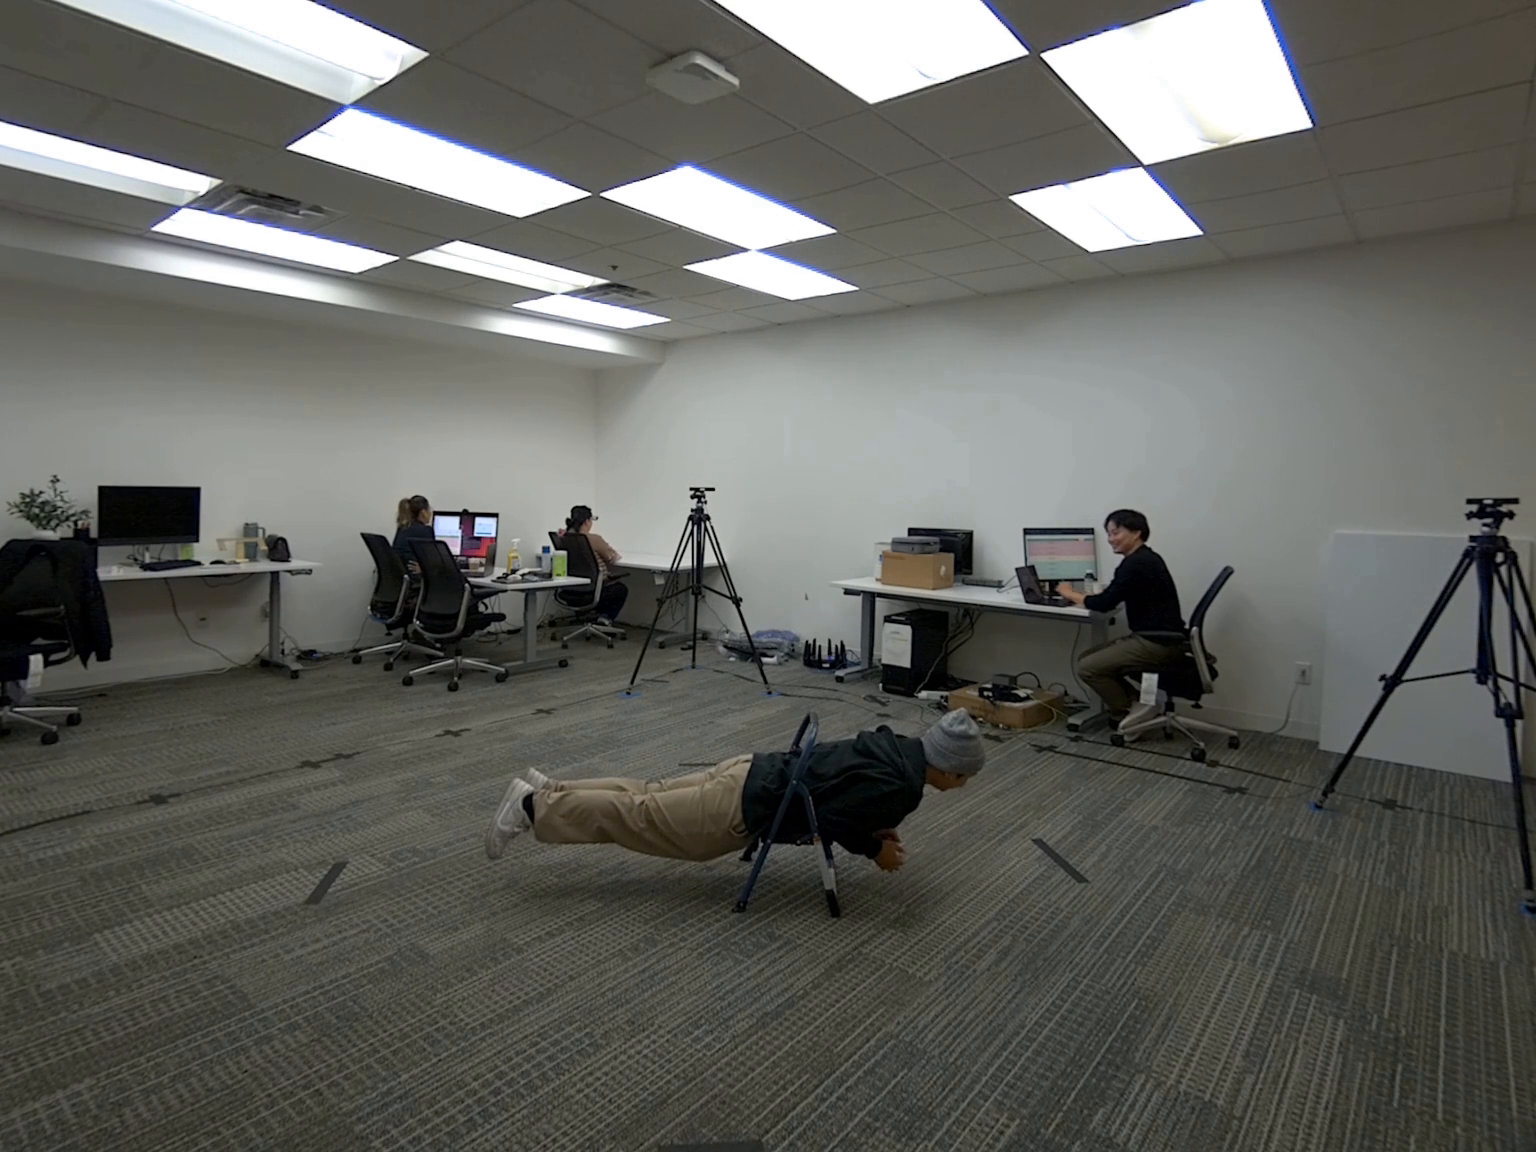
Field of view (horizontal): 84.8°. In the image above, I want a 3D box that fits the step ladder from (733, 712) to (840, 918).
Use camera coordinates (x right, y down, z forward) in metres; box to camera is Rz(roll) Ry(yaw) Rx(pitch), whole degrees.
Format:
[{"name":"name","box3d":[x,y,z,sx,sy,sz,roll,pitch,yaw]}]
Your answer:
[{"name":"step ladder","box3d":[0.072,0.788,2.970,0.350,0.604,0.431,3,4,1]}]
